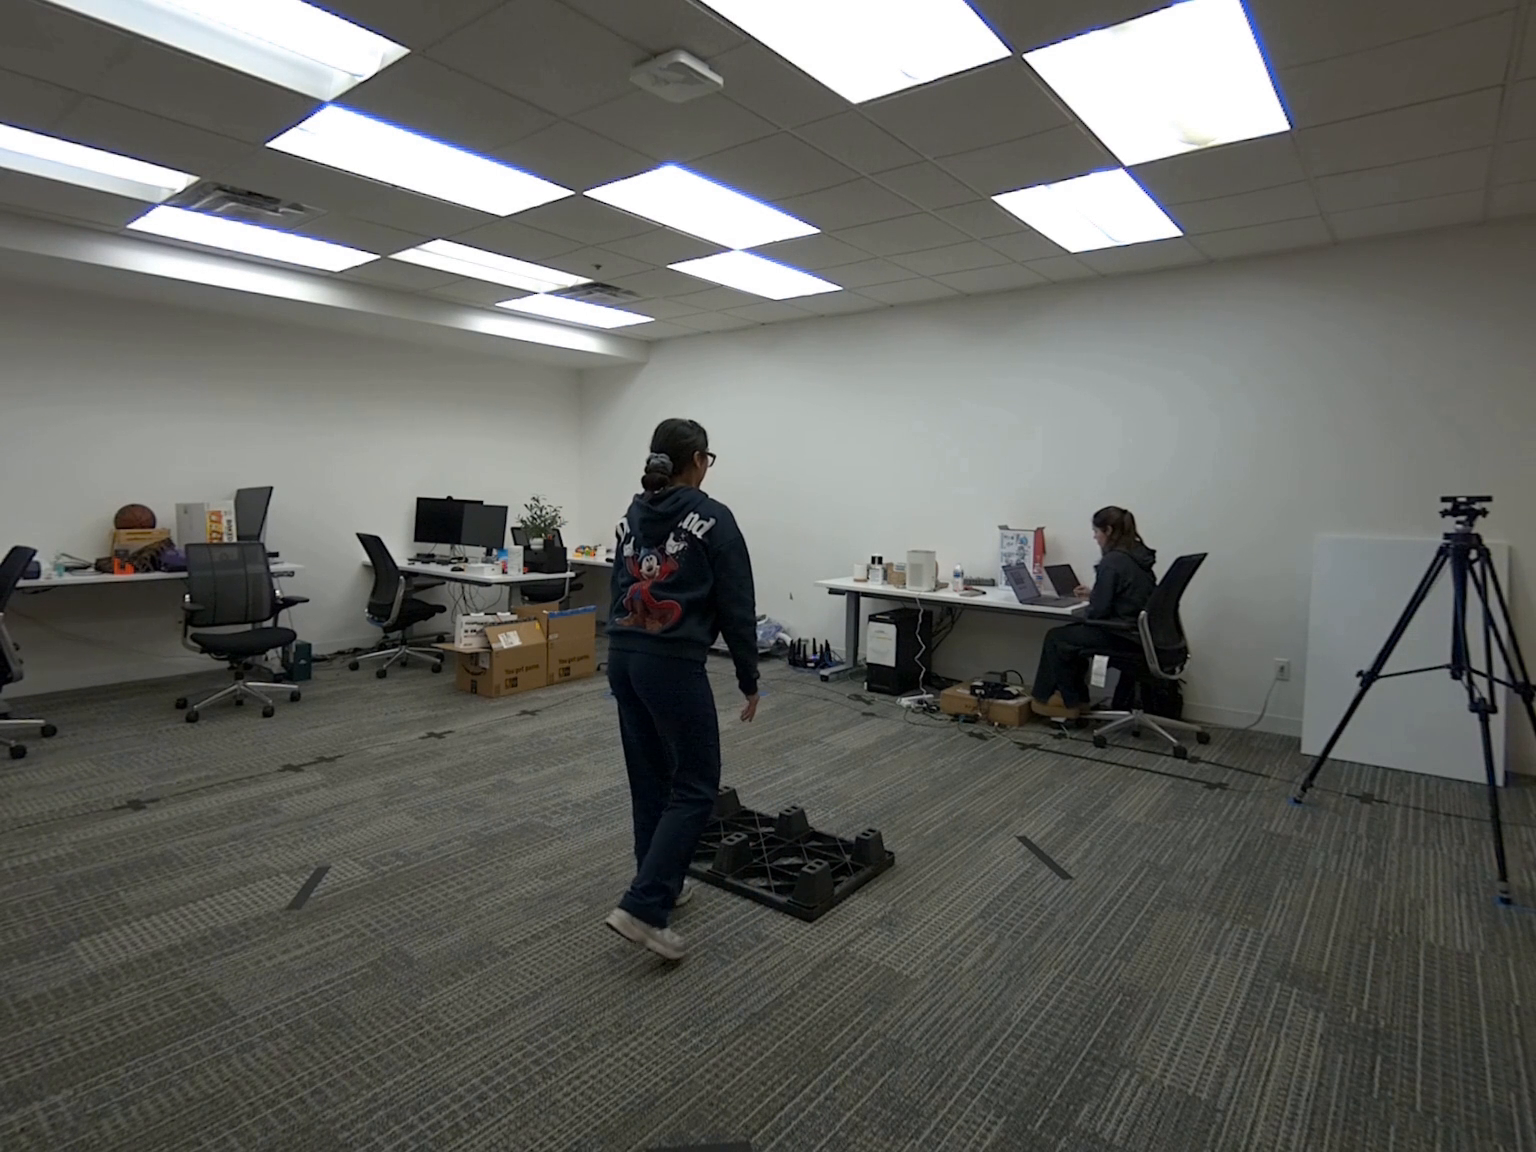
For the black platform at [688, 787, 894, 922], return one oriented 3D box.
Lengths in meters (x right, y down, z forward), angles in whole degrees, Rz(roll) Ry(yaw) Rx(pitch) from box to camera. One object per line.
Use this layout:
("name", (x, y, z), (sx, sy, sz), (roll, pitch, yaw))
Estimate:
("black platform", (-0.019, 0.996, 3.202), (0.832, 0.142, 0.588), (5, 8, 37))
